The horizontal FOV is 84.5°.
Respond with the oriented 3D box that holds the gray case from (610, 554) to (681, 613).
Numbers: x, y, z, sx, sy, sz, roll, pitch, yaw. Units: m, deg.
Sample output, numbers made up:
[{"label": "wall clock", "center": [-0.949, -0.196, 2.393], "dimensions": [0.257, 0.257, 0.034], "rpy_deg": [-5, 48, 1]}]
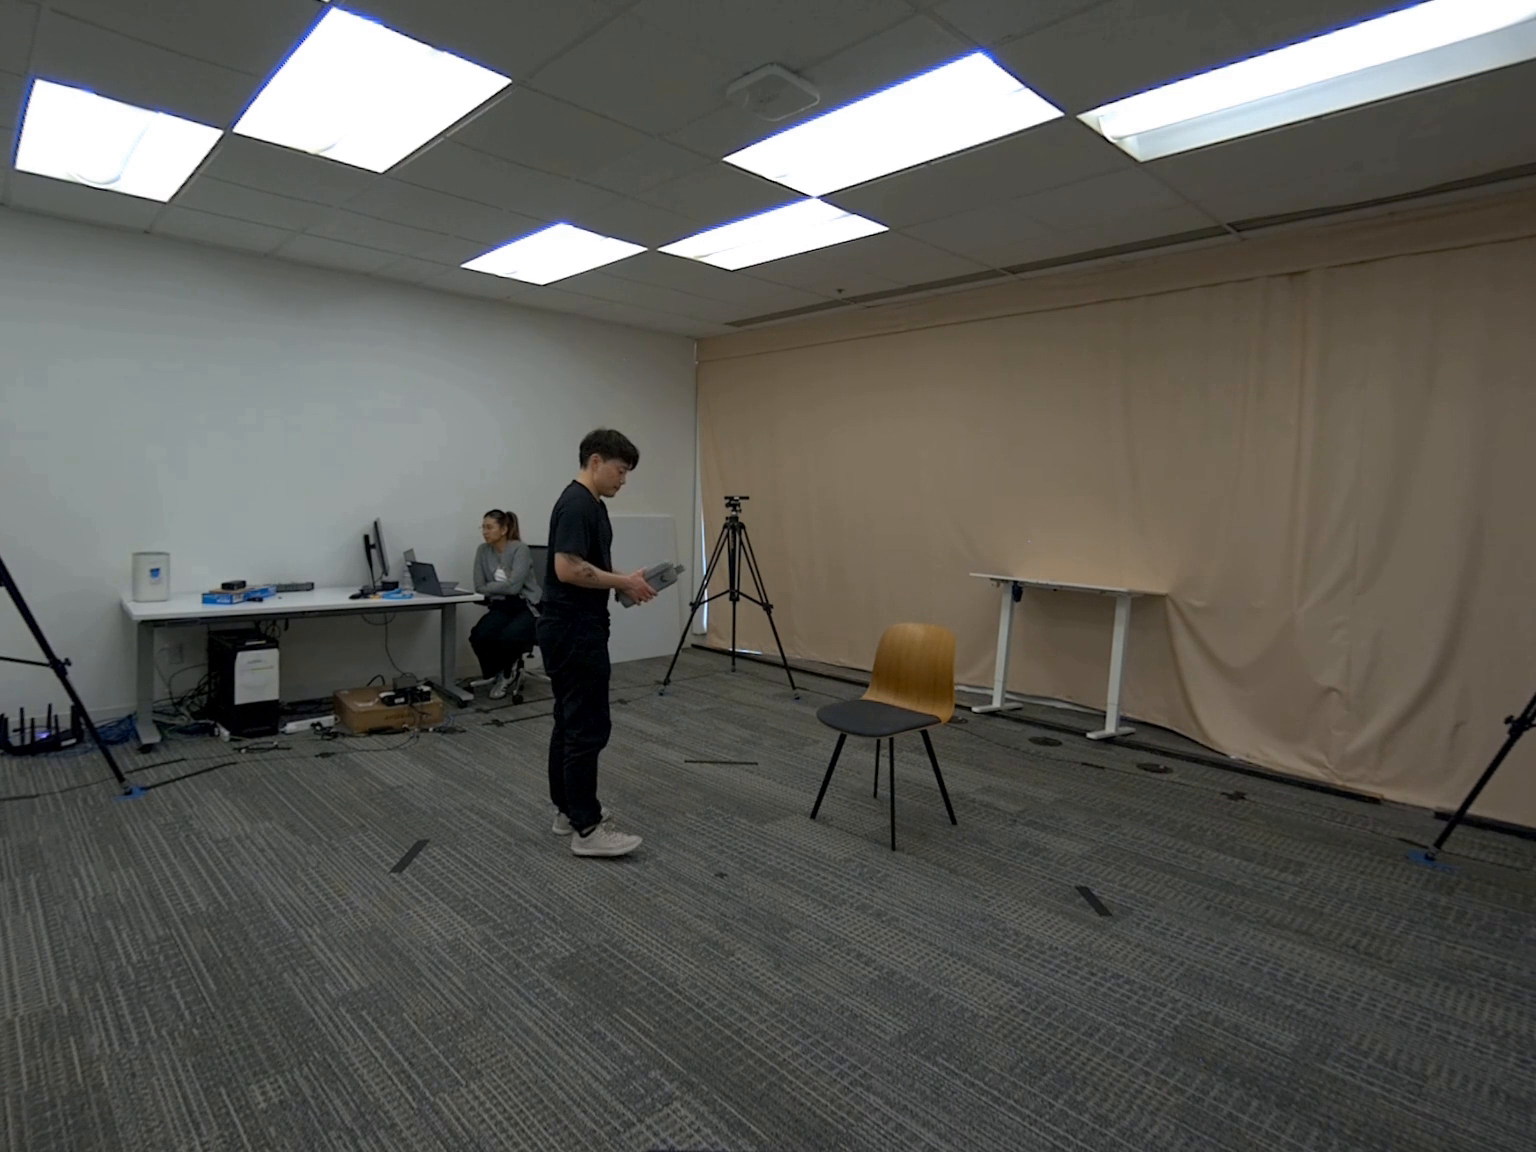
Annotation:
[{"label": "gray case", "center": [-0.510, 0.024, 3.466], "dimensions": [0.261, 0.104, 0.257], "rpy_deg": [-28, 4, 2]}]
